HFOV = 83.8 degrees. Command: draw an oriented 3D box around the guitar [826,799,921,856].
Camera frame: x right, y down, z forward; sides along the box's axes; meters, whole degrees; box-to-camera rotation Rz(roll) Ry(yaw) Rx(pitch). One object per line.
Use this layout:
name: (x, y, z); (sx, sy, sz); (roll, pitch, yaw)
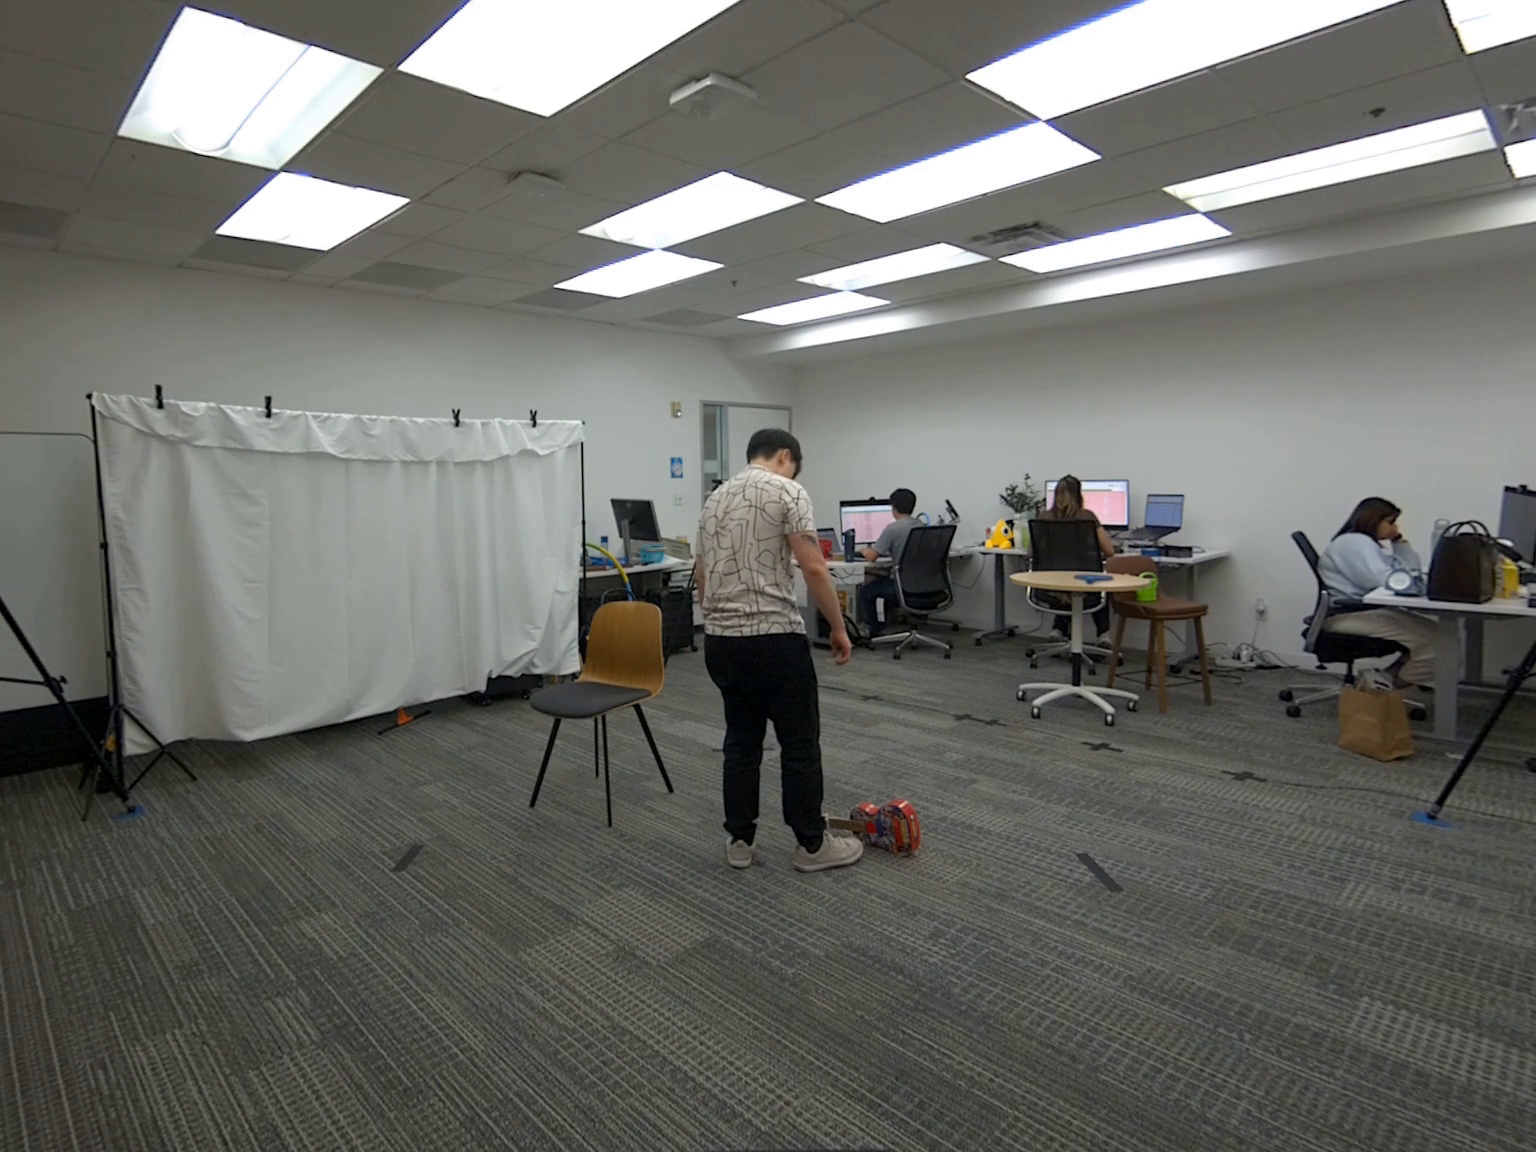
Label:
guitar: (0.343, 0.929, 3.288); (0.513, 0.191, 0.069); (3, 10, 40)
